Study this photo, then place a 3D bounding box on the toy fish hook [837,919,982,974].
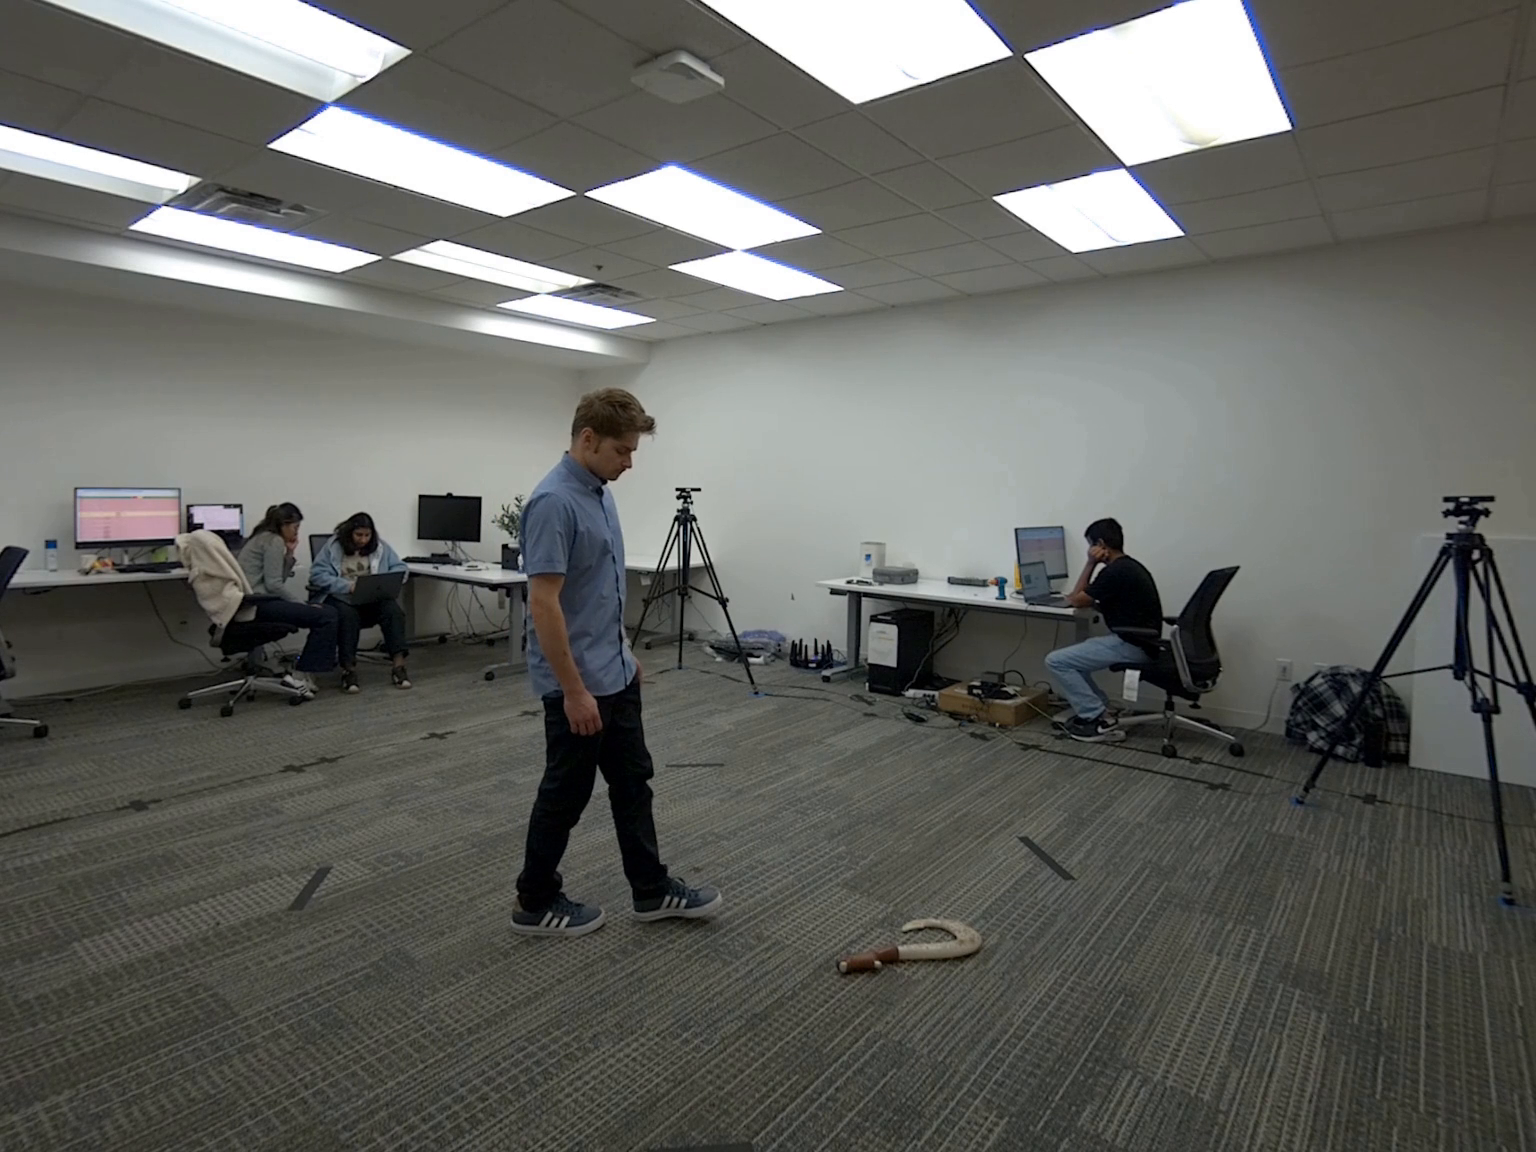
[{"bbox_3d":[0.407,1.120,2.585,0.495,0.048,0.229,0,-2,-22],"label":"toy fish hook"}]
